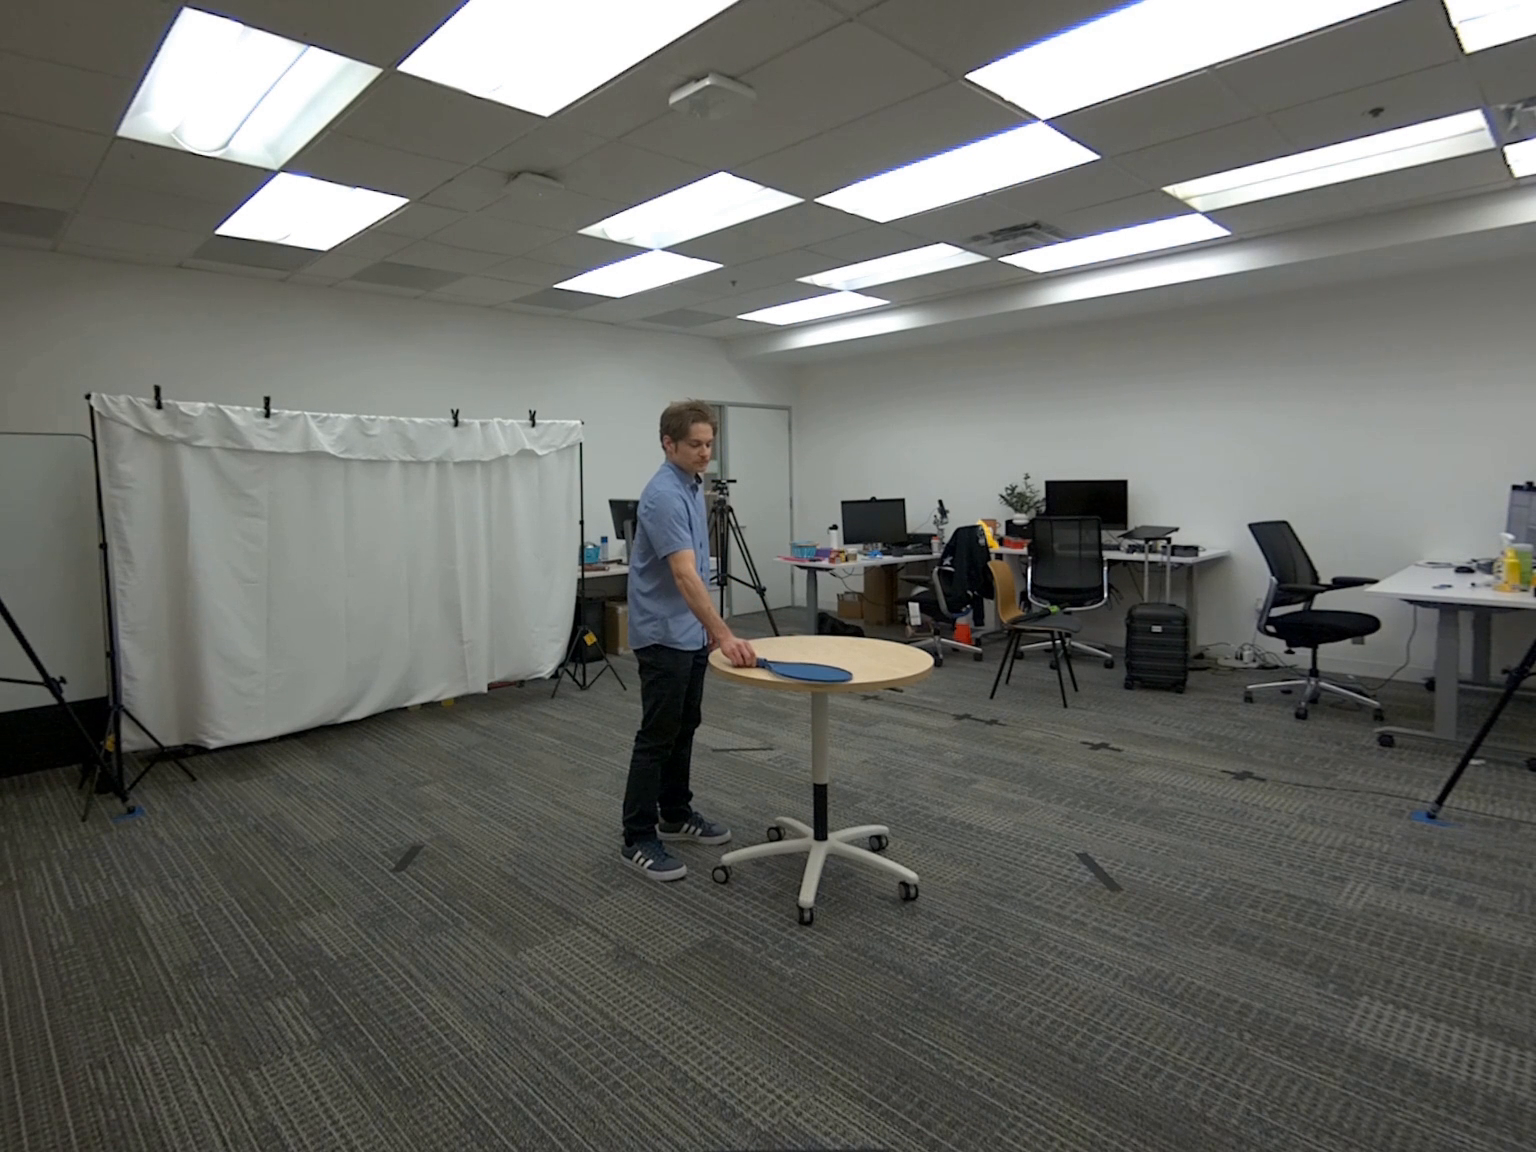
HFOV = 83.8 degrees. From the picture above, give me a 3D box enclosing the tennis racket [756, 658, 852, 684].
[{"bbox_3d":[0.071,0.298,2.702,0.445,0.032,0.208,4,5,34],"label":"tennis racket"}]
